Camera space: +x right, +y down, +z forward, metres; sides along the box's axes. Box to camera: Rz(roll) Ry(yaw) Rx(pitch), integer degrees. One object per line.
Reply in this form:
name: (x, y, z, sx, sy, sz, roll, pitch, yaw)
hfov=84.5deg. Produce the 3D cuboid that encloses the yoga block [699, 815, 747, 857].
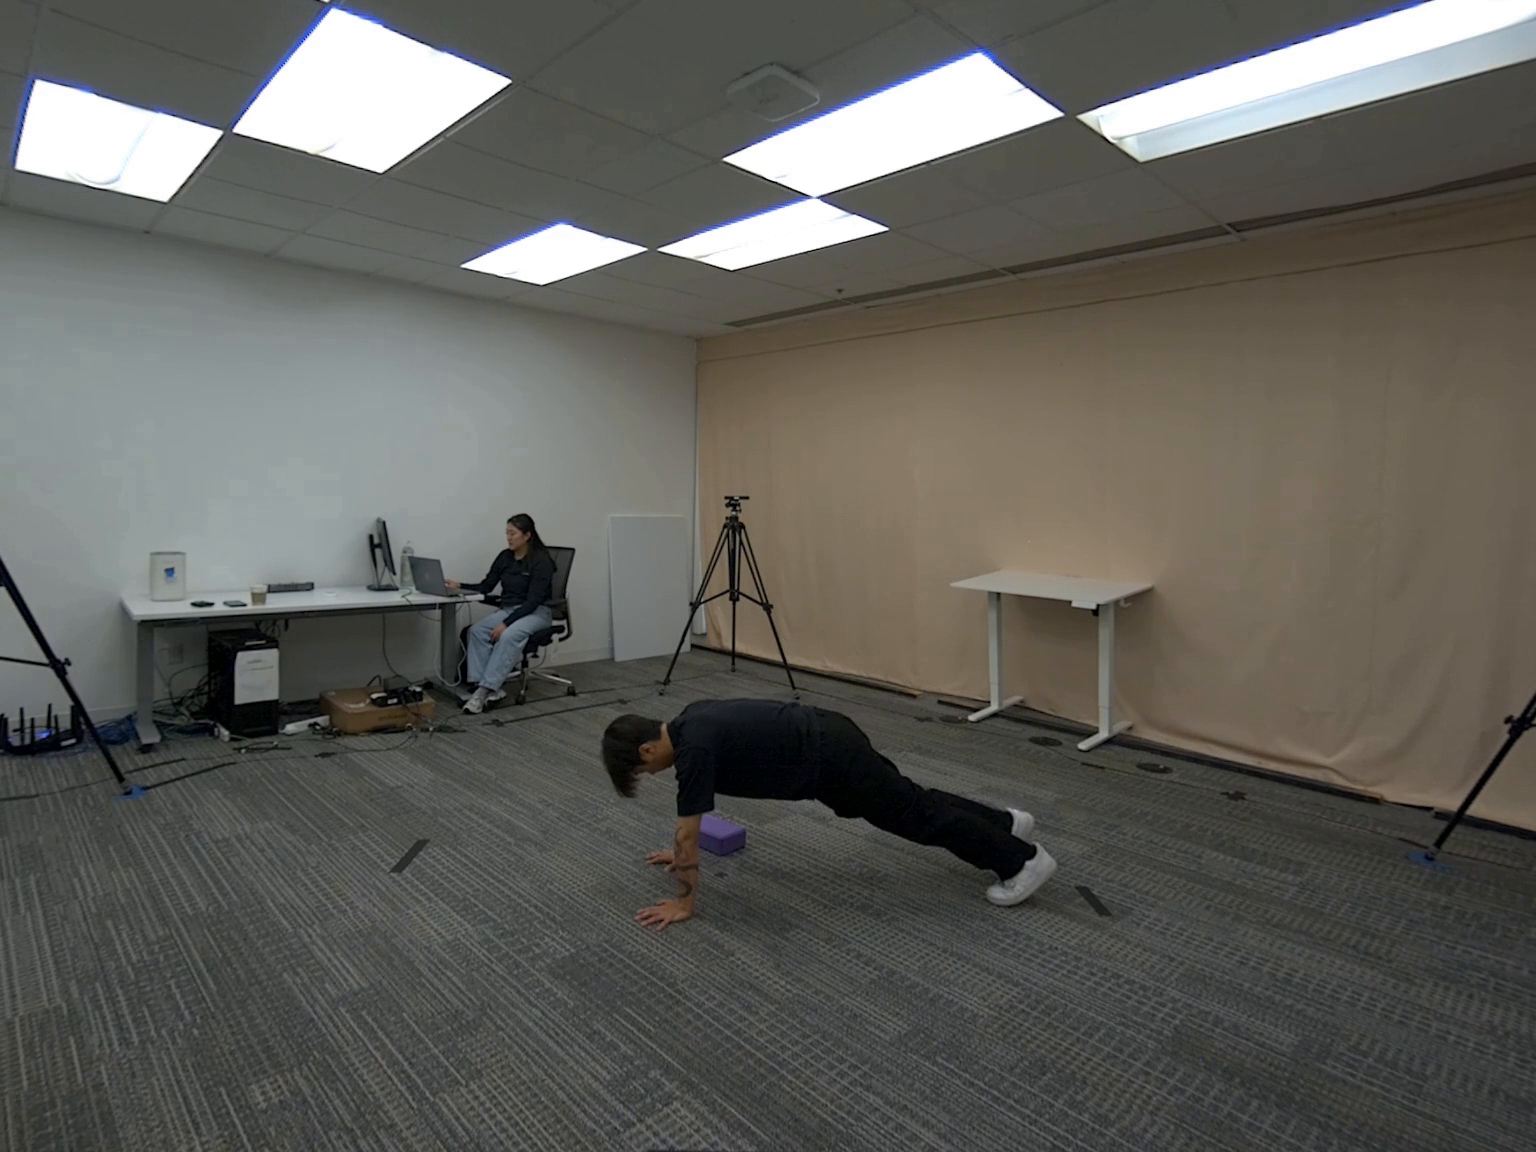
yoga block: (-0.226, 1.038, 3.383, 0.235, 0.076, 0.146, 5, 6, 40)
